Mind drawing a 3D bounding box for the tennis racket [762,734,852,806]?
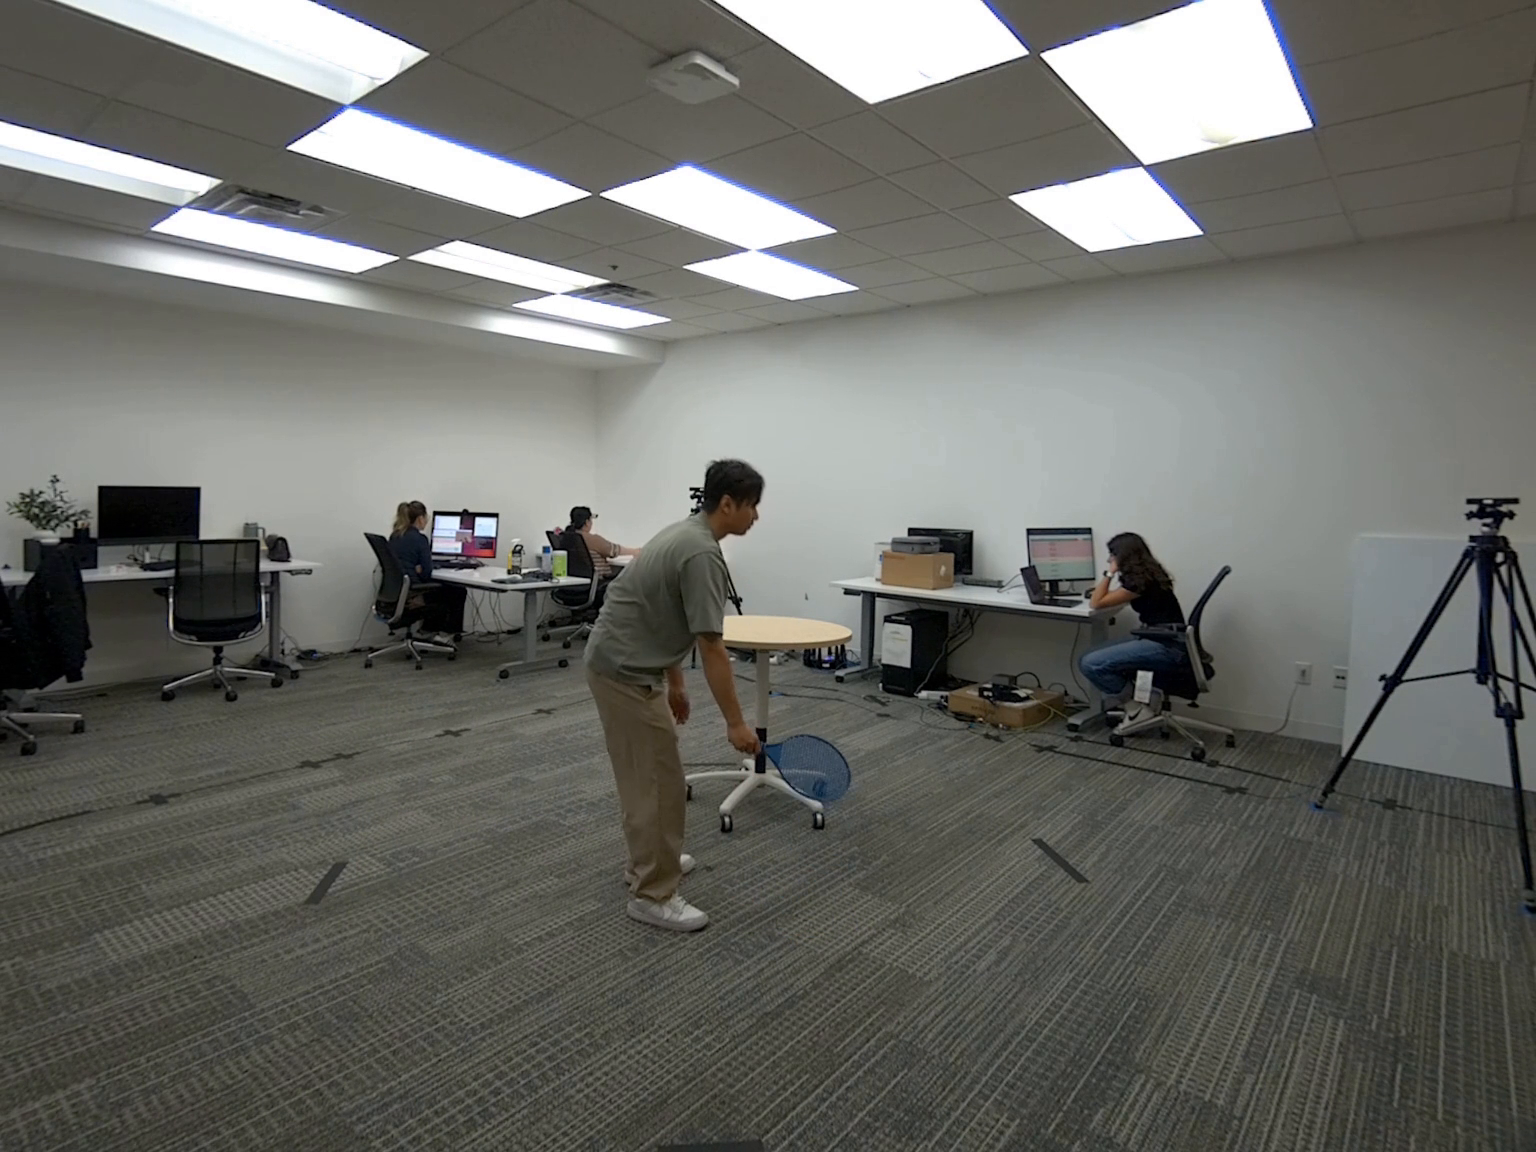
[{"bbox_3d":[0.079,0.598,2.749,0.428,0.218,0.031,18,-36,-8],"label":"tennis racket"}]
